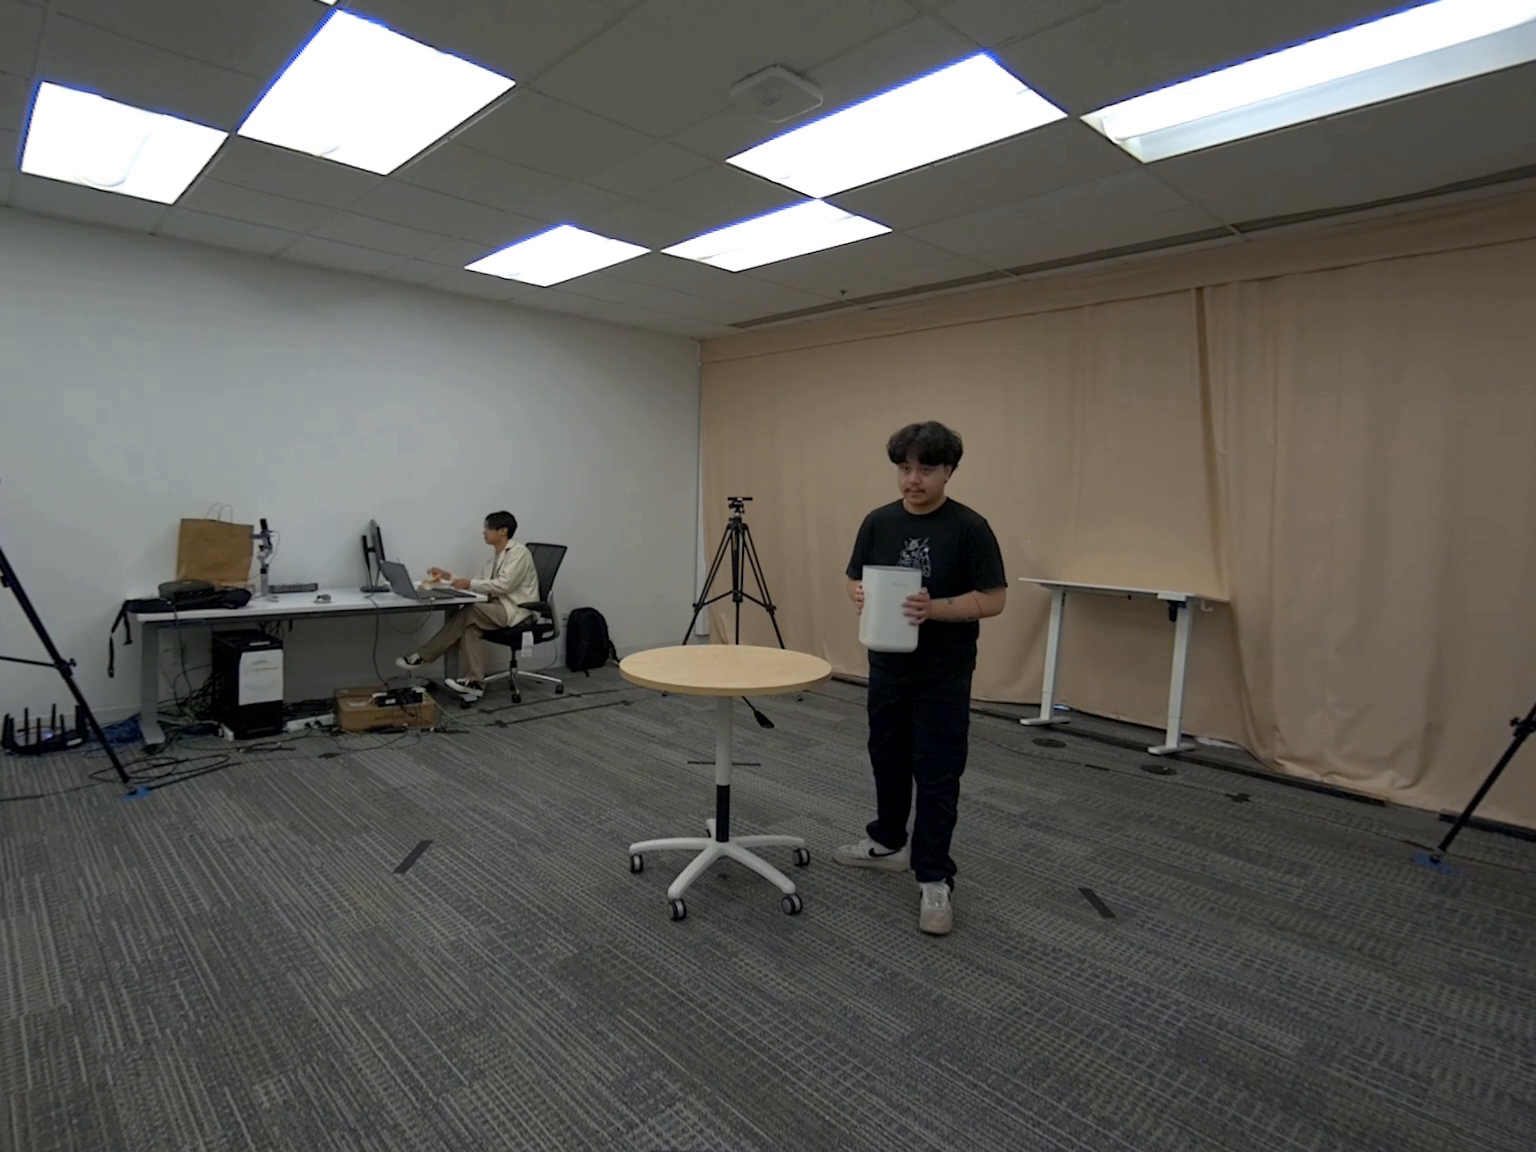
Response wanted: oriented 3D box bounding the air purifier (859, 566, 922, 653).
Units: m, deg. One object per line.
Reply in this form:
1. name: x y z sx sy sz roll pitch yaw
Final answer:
1. air purifier: 0.396 0.108 2.718 0.170 0.265 0.173 3 3 -7
